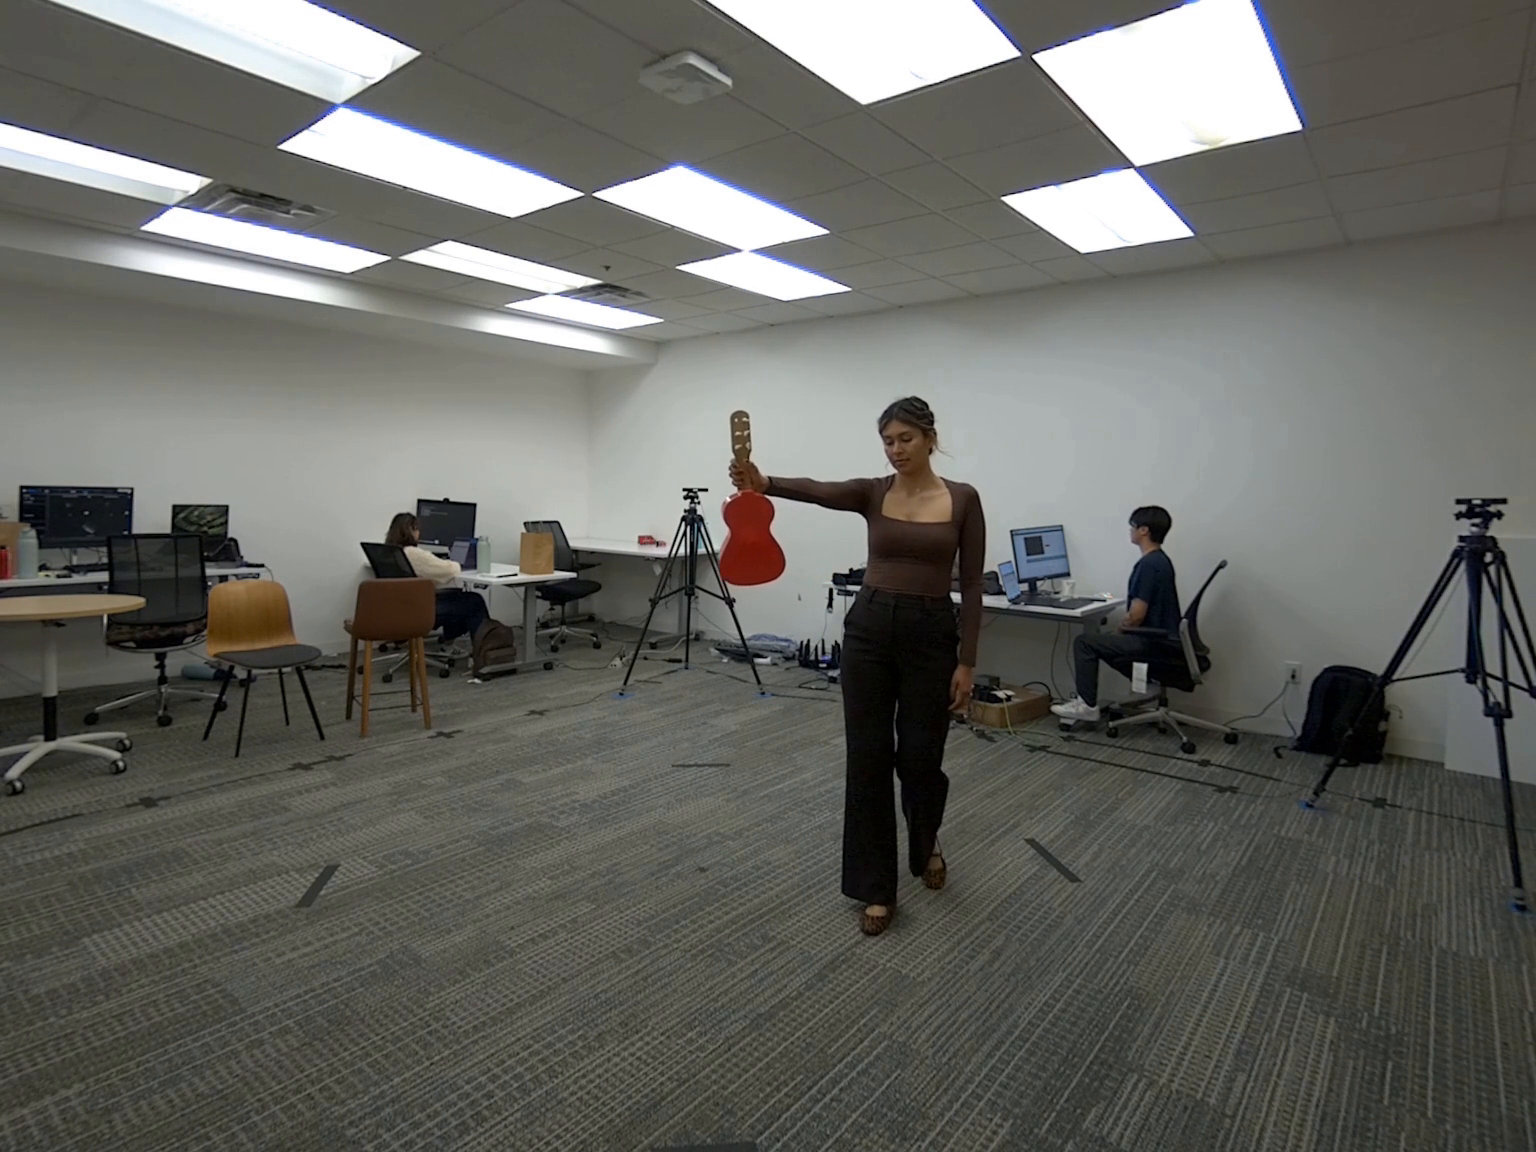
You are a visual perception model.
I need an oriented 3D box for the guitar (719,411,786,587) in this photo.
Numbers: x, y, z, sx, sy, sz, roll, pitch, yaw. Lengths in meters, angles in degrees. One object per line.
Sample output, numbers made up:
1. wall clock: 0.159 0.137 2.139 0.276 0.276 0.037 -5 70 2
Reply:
1. guitar: -0.099 -0.213 2.444 0.192 0.490 0.072 -16 13 -4
